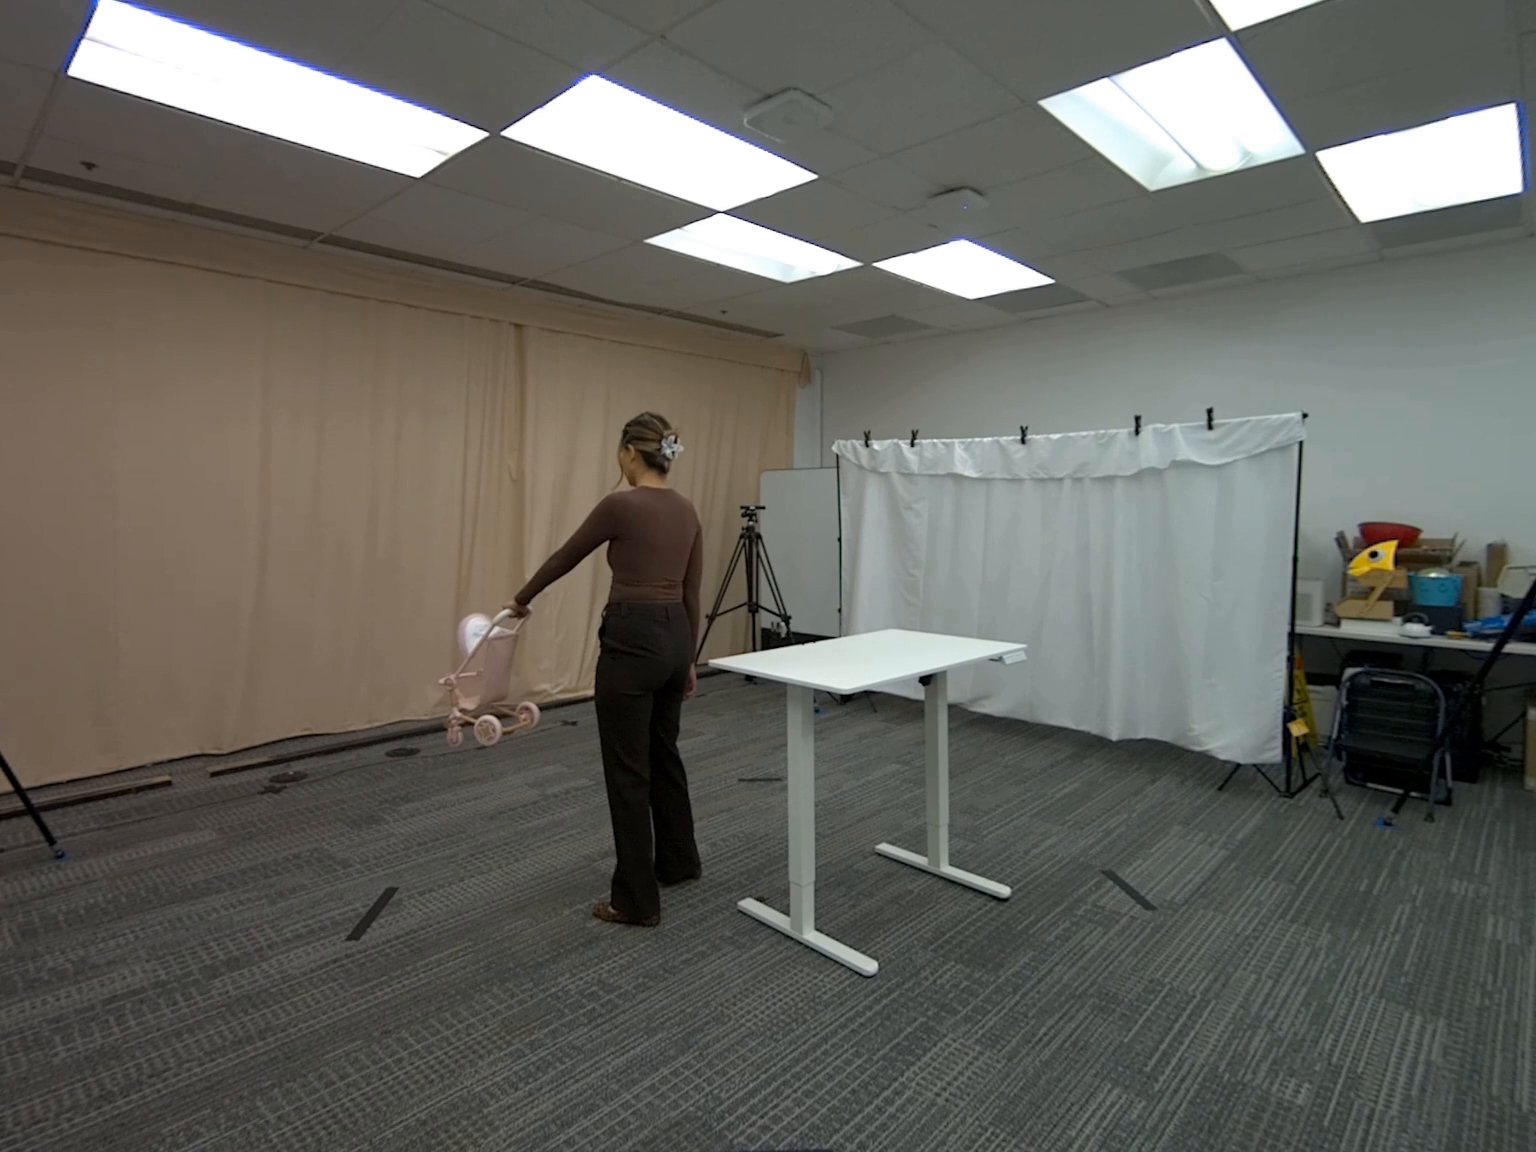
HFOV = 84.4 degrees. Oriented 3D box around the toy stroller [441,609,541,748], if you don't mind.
[{"bbox_3d":[-1.046,0.382,3.109,0.350,0.534,0.275,1,2,24],"label":"toy stroller"}]
